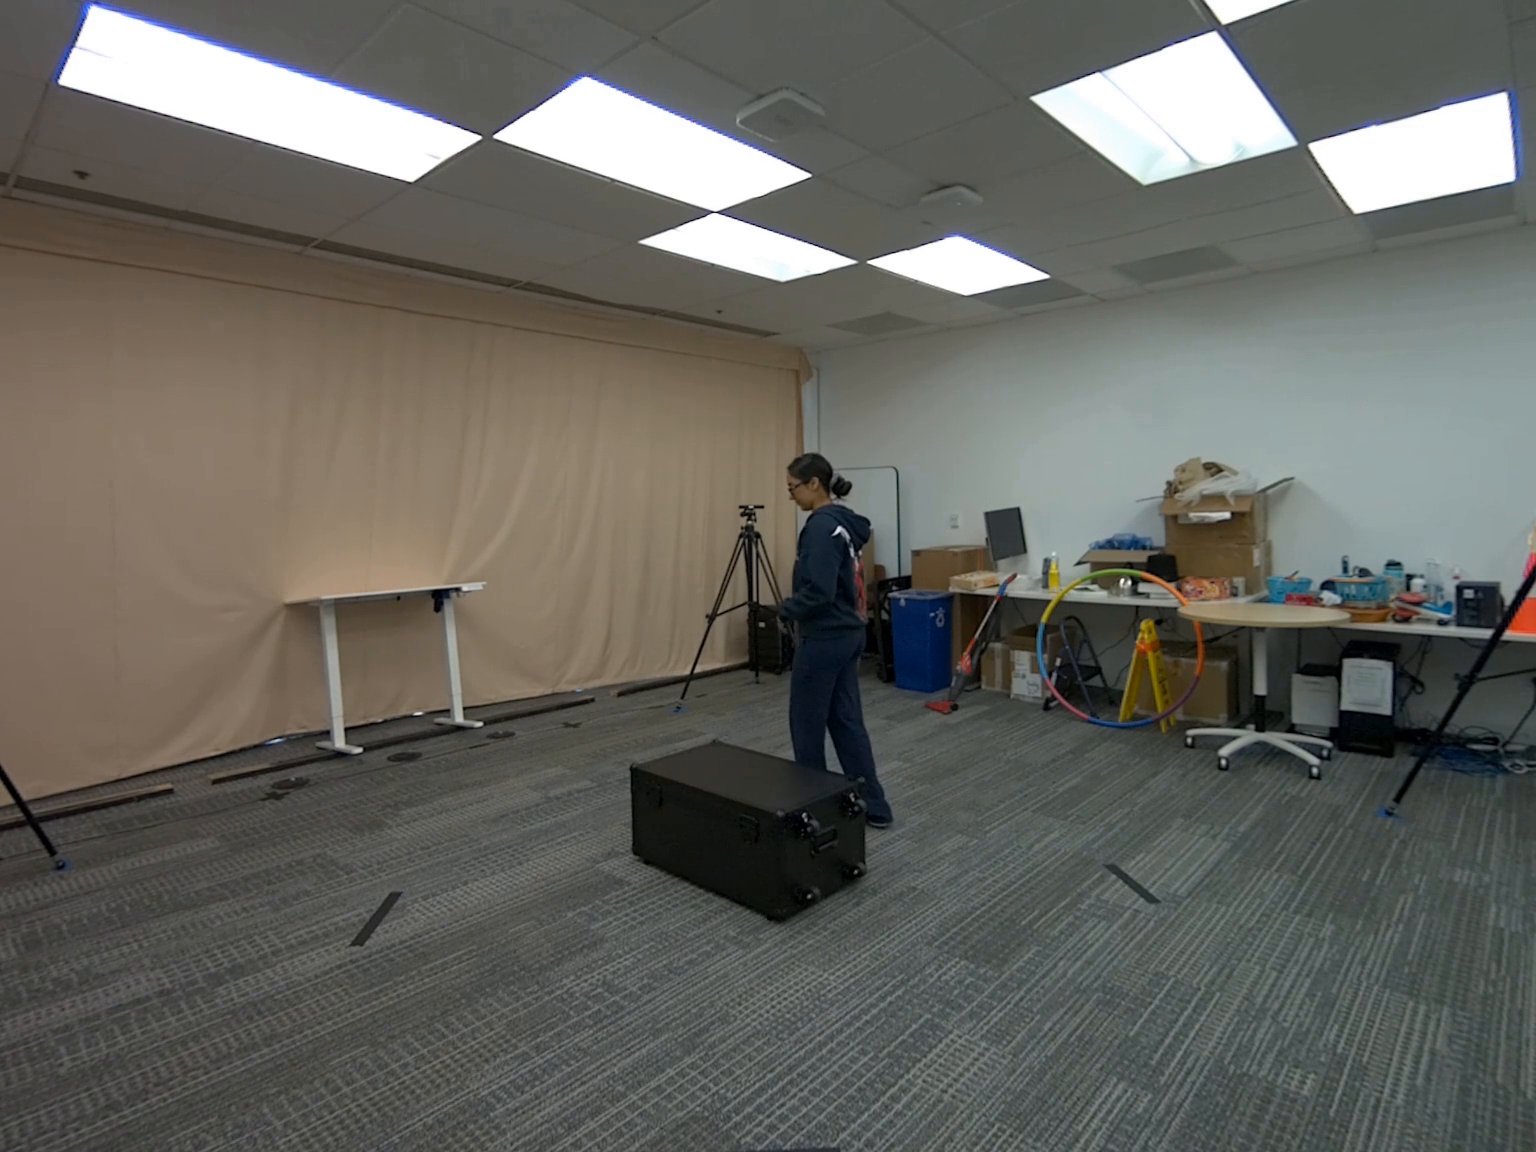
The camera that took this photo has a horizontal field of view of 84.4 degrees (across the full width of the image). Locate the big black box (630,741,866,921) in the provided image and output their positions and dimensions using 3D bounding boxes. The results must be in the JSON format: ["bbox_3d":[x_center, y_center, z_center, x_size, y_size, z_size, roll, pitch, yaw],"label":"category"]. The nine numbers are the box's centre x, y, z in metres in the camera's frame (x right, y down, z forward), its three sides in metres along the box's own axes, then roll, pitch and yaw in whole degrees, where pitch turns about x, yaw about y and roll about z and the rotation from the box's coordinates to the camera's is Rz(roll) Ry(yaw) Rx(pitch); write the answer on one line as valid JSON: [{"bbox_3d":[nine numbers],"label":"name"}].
[{"bbox_3d":[-0.068,0.935,3.187,0.890,0.395,0.505,2,5,43],"label":"big black box"}]
